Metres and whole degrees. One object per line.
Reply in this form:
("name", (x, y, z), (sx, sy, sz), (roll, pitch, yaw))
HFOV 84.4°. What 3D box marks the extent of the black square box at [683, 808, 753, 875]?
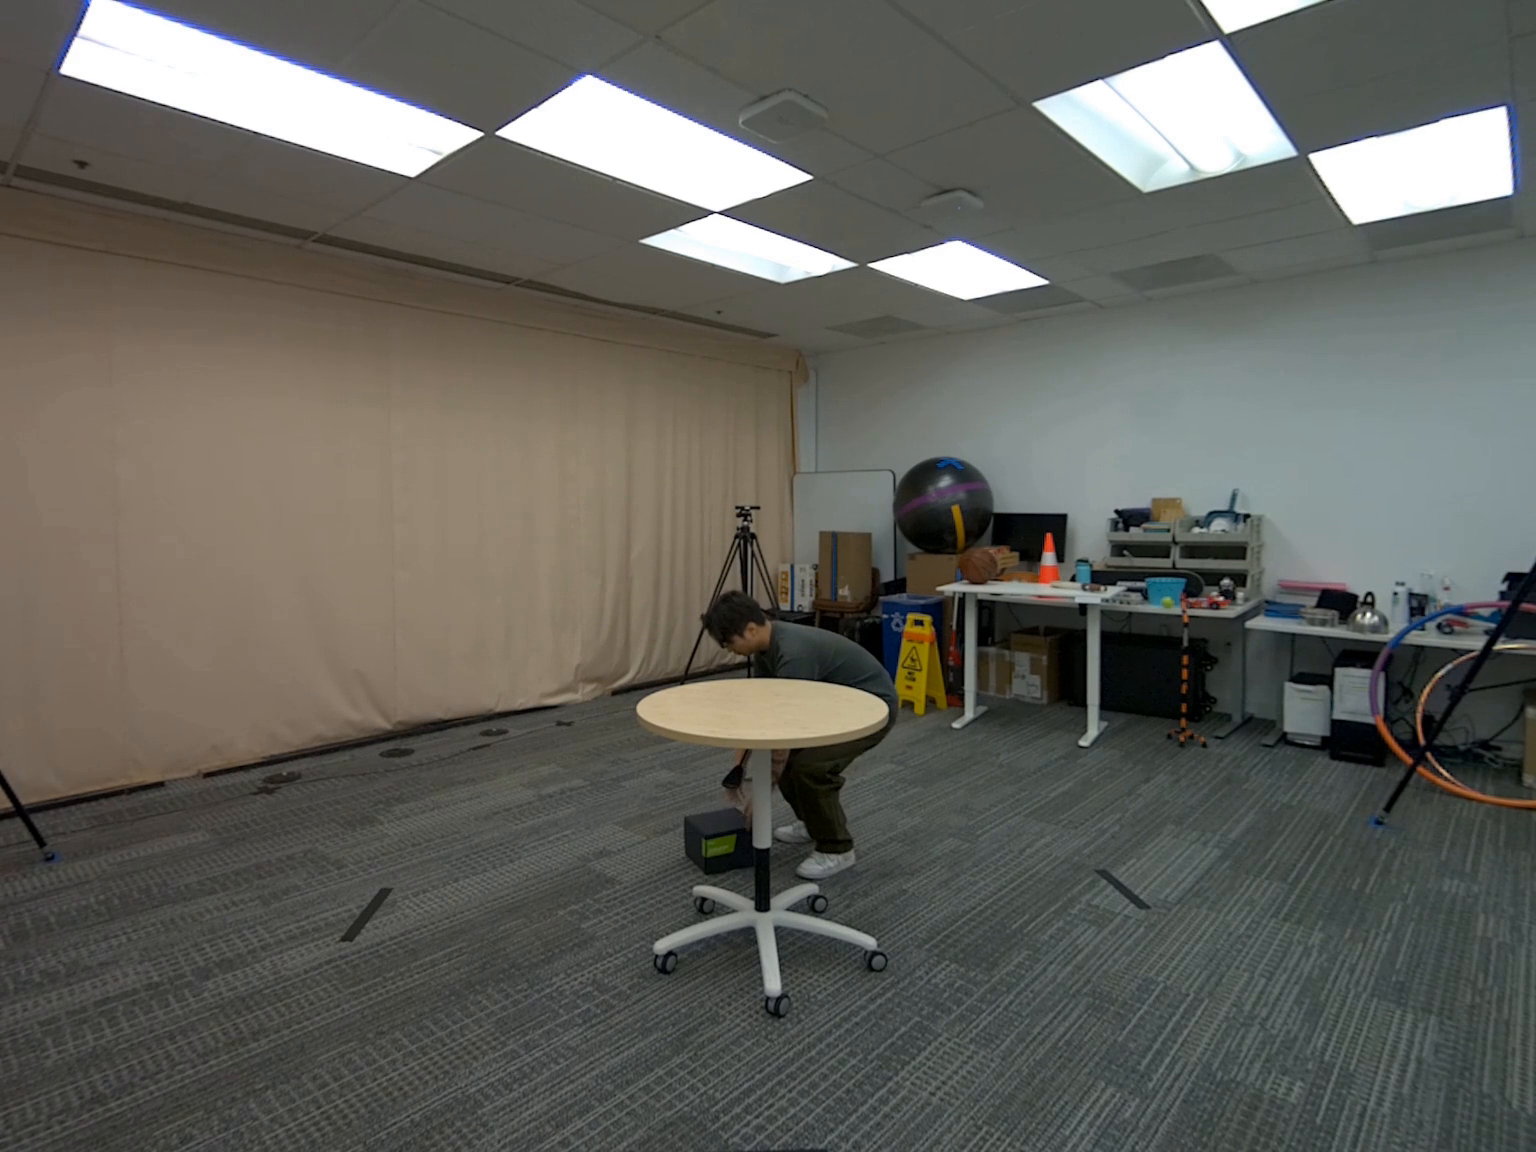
("black square box", (-0.183, 1.036, 3.313), (0.222, 0.155, 0.223), (-3, 5, -26))
